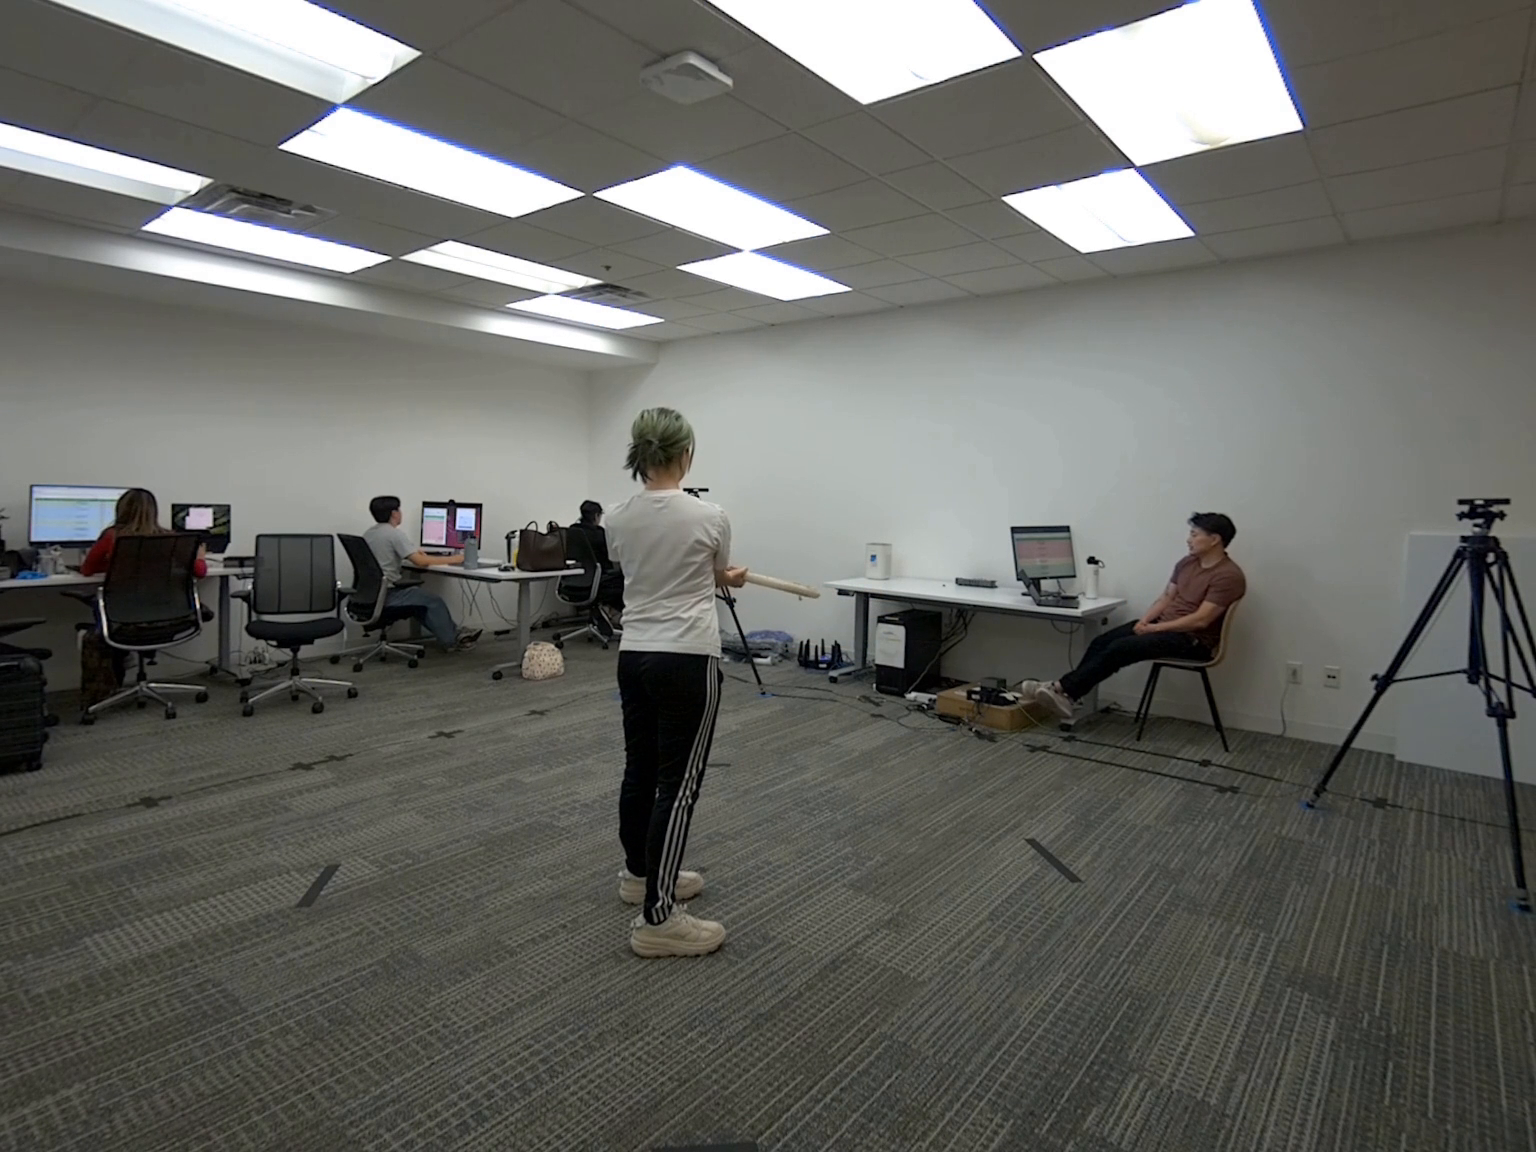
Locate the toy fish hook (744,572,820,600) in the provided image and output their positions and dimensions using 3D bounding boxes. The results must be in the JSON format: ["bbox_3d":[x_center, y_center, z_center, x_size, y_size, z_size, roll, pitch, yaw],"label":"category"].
[{"bbox_3d":[-0.053,0.017,3.220,0.502,0.048,0.225,14,-8,-7],"label":"toy fish hook"}]
